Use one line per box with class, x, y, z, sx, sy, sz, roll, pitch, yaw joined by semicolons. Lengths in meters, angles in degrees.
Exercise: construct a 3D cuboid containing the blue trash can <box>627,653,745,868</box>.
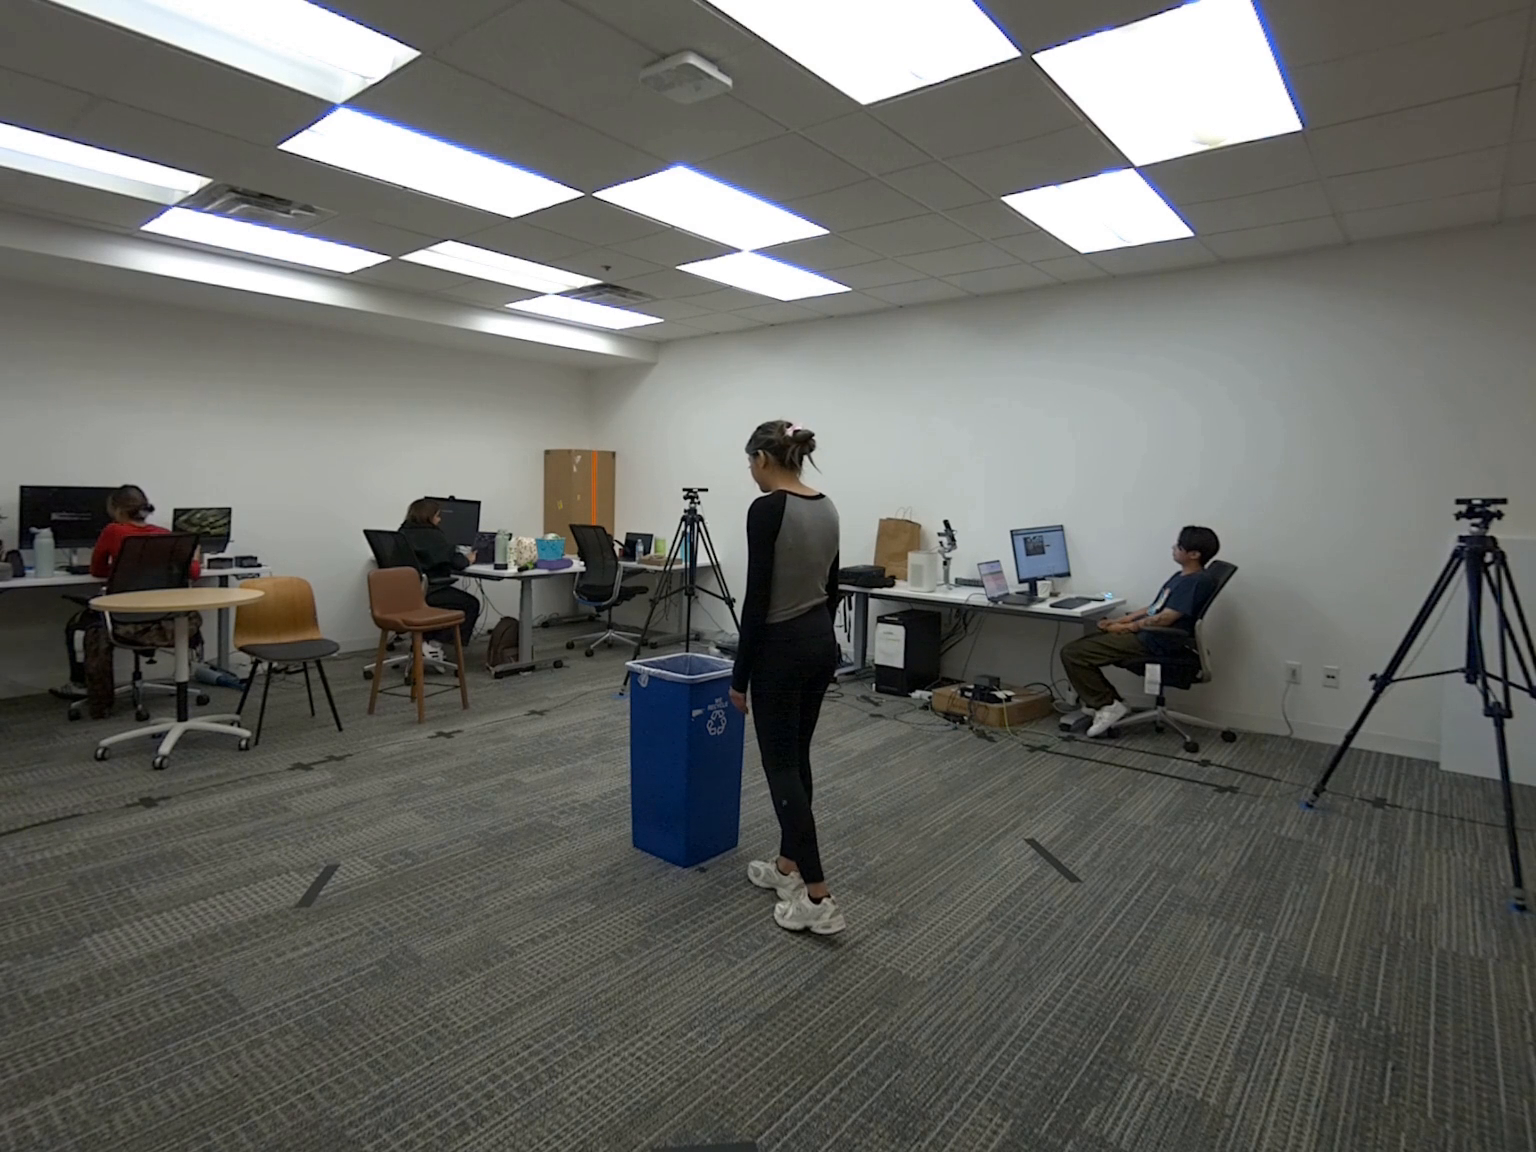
blue trash can;-0.325;0.690;3.308;0.391;0.711;0.363;4;4;40
